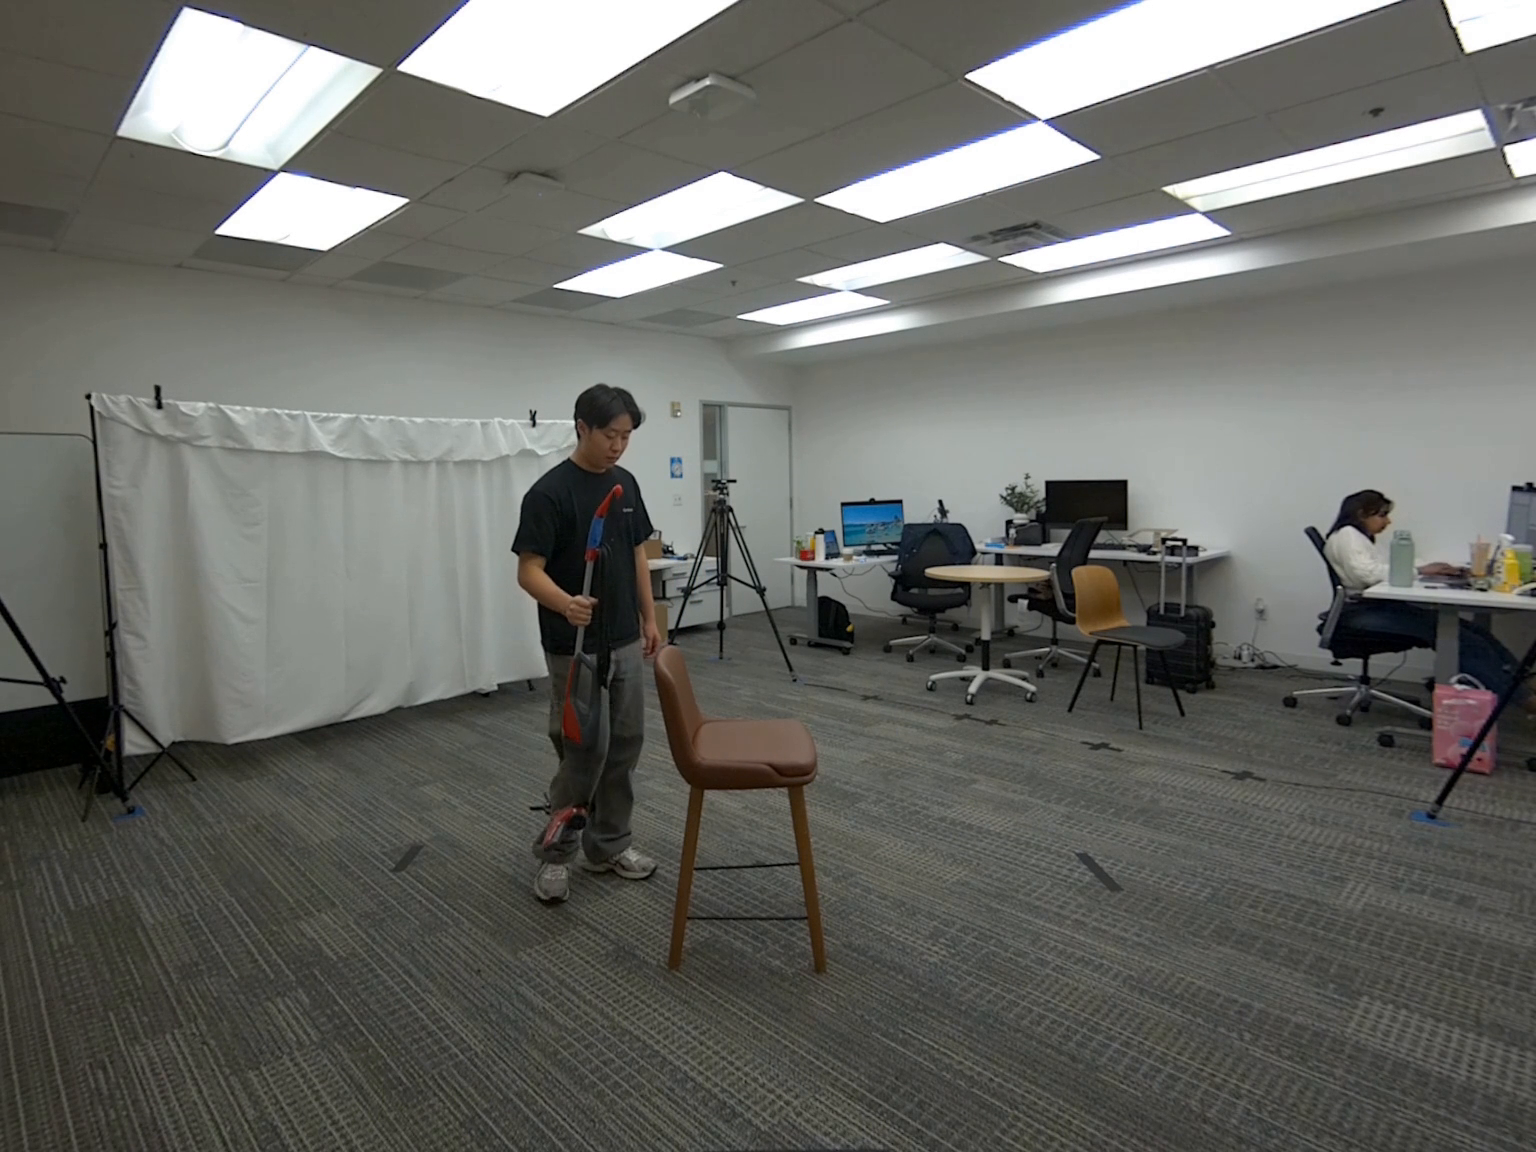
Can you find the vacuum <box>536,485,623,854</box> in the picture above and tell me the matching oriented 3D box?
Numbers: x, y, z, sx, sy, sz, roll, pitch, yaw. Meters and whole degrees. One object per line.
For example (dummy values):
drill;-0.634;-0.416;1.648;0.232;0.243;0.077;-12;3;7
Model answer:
vacuum;-0.537;0.250;2.600;0.142;1.046;0.256;9;4;-11
